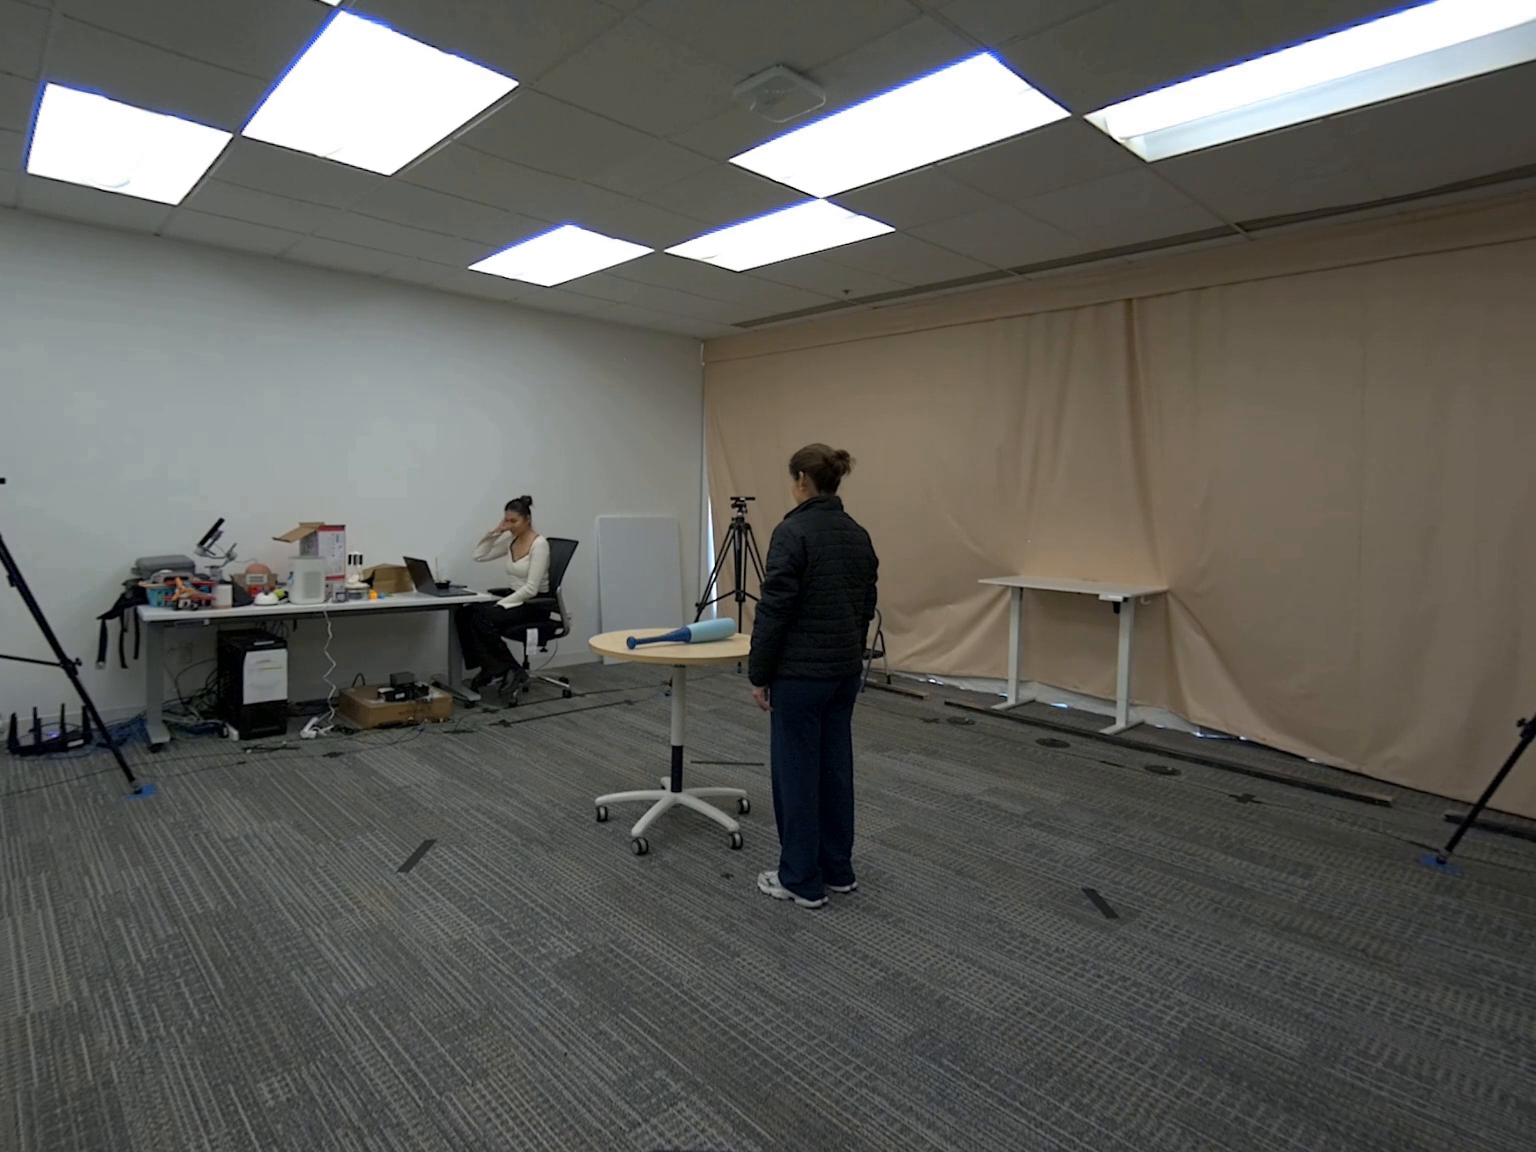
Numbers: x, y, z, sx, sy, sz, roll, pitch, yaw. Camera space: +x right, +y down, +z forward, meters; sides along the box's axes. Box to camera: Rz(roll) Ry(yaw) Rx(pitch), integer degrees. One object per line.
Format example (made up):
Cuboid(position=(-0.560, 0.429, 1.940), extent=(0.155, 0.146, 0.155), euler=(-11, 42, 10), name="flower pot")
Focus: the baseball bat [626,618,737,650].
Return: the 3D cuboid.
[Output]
Cuboid(position=(-0.359, 0.249, 3.485), extent=(0.531, 0.089, 0.091), euler=(-7, 9, -42), name="baseball bat")
